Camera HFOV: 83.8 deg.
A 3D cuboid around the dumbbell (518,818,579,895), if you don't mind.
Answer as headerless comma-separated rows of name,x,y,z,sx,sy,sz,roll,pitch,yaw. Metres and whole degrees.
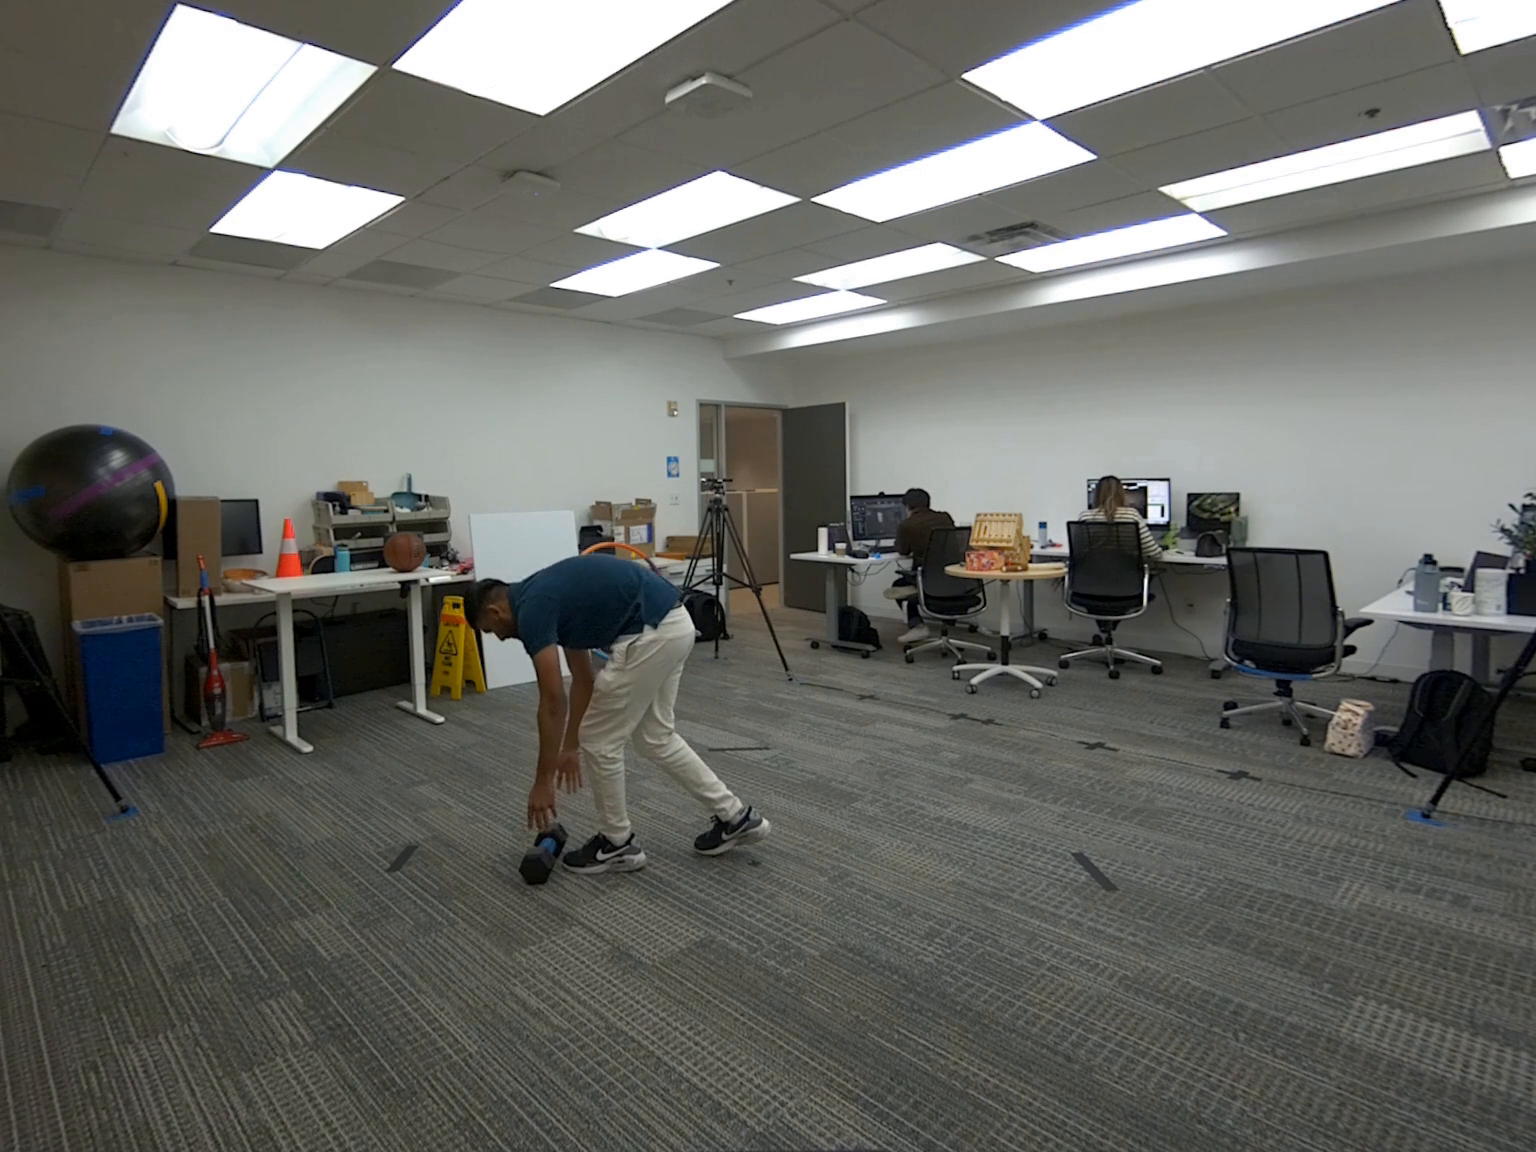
dumbbell,-0.794,1.007,3.108,0.108,0.123,0.295,27,5,-4
